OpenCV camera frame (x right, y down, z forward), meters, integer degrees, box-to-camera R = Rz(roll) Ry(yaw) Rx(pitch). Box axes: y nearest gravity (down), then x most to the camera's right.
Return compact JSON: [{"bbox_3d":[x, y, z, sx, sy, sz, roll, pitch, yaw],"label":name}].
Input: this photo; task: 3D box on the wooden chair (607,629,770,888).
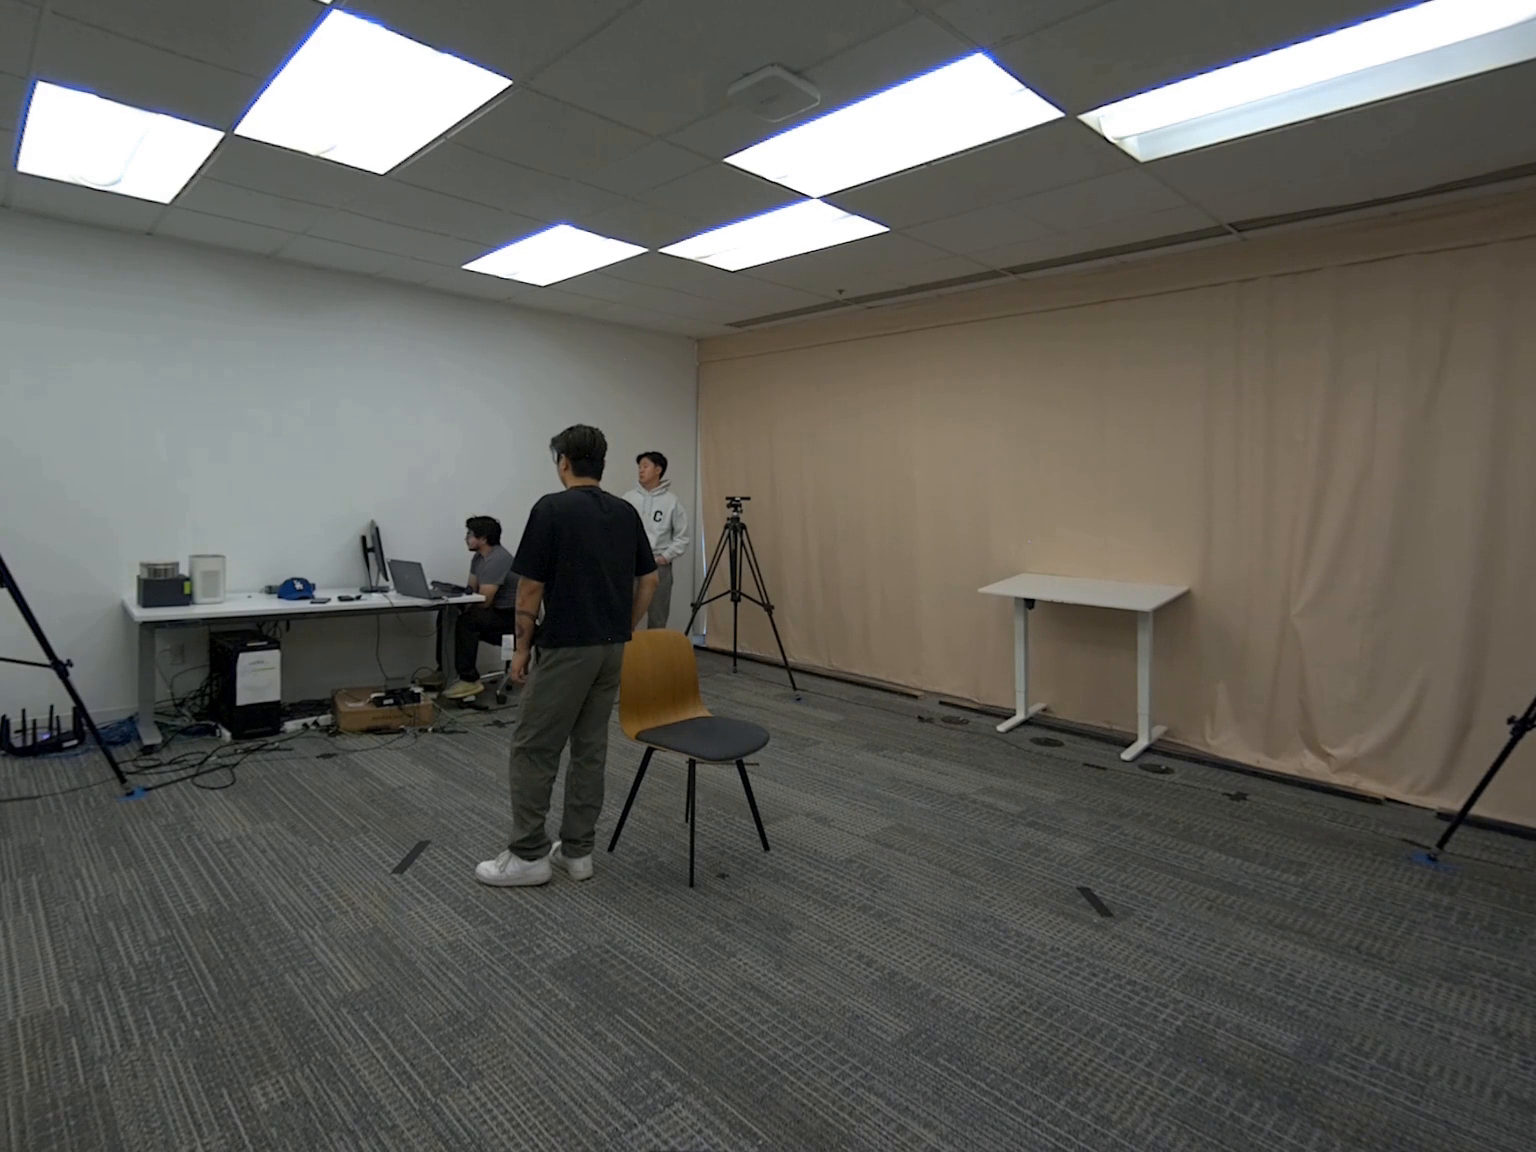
[{"bbox_3d":[-0.293,0.660,3.282,0.535,0.877,0.467,-1,1,39],"label":"wooden chair"}]
